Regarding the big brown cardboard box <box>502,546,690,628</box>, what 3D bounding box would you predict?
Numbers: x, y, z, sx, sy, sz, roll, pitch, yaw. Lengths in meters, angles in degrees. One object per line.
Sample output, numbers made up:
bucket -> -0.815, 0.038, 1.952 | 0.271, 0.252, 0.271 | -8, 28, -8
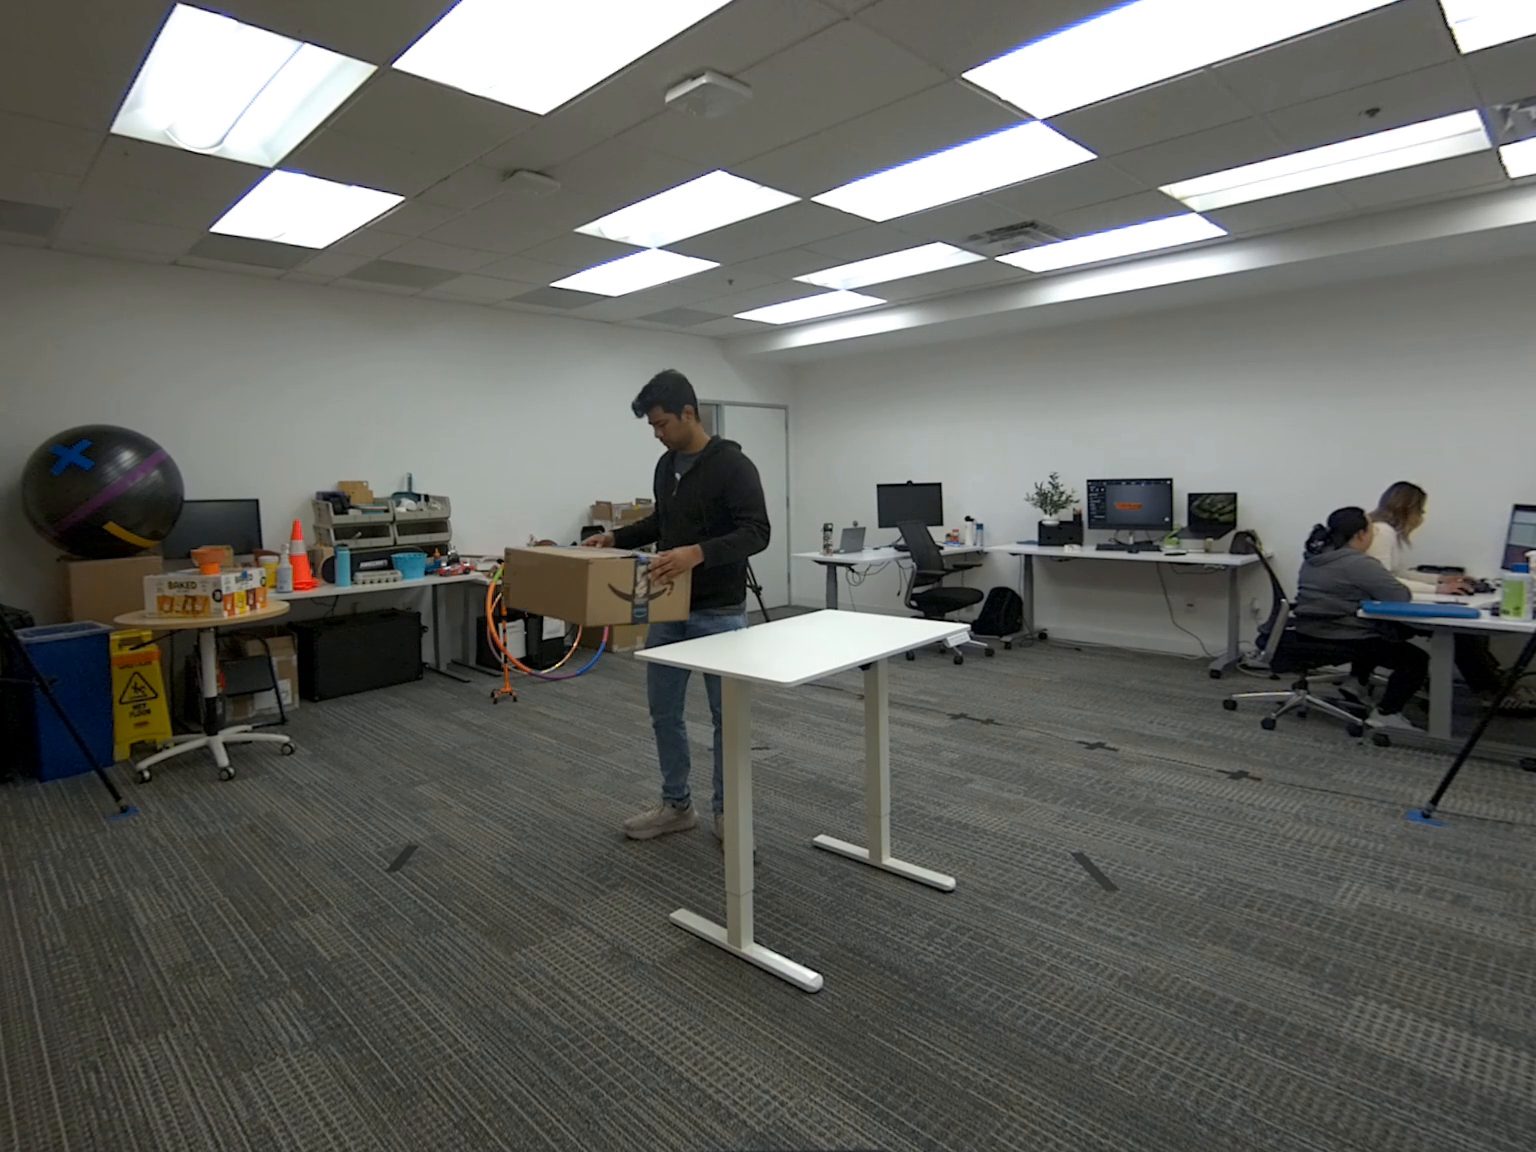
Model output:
big brown cardboard box -> -0.601, 0.032, 2.998 | 0.405, 0.232, 0.607 | -1, 5, -42
